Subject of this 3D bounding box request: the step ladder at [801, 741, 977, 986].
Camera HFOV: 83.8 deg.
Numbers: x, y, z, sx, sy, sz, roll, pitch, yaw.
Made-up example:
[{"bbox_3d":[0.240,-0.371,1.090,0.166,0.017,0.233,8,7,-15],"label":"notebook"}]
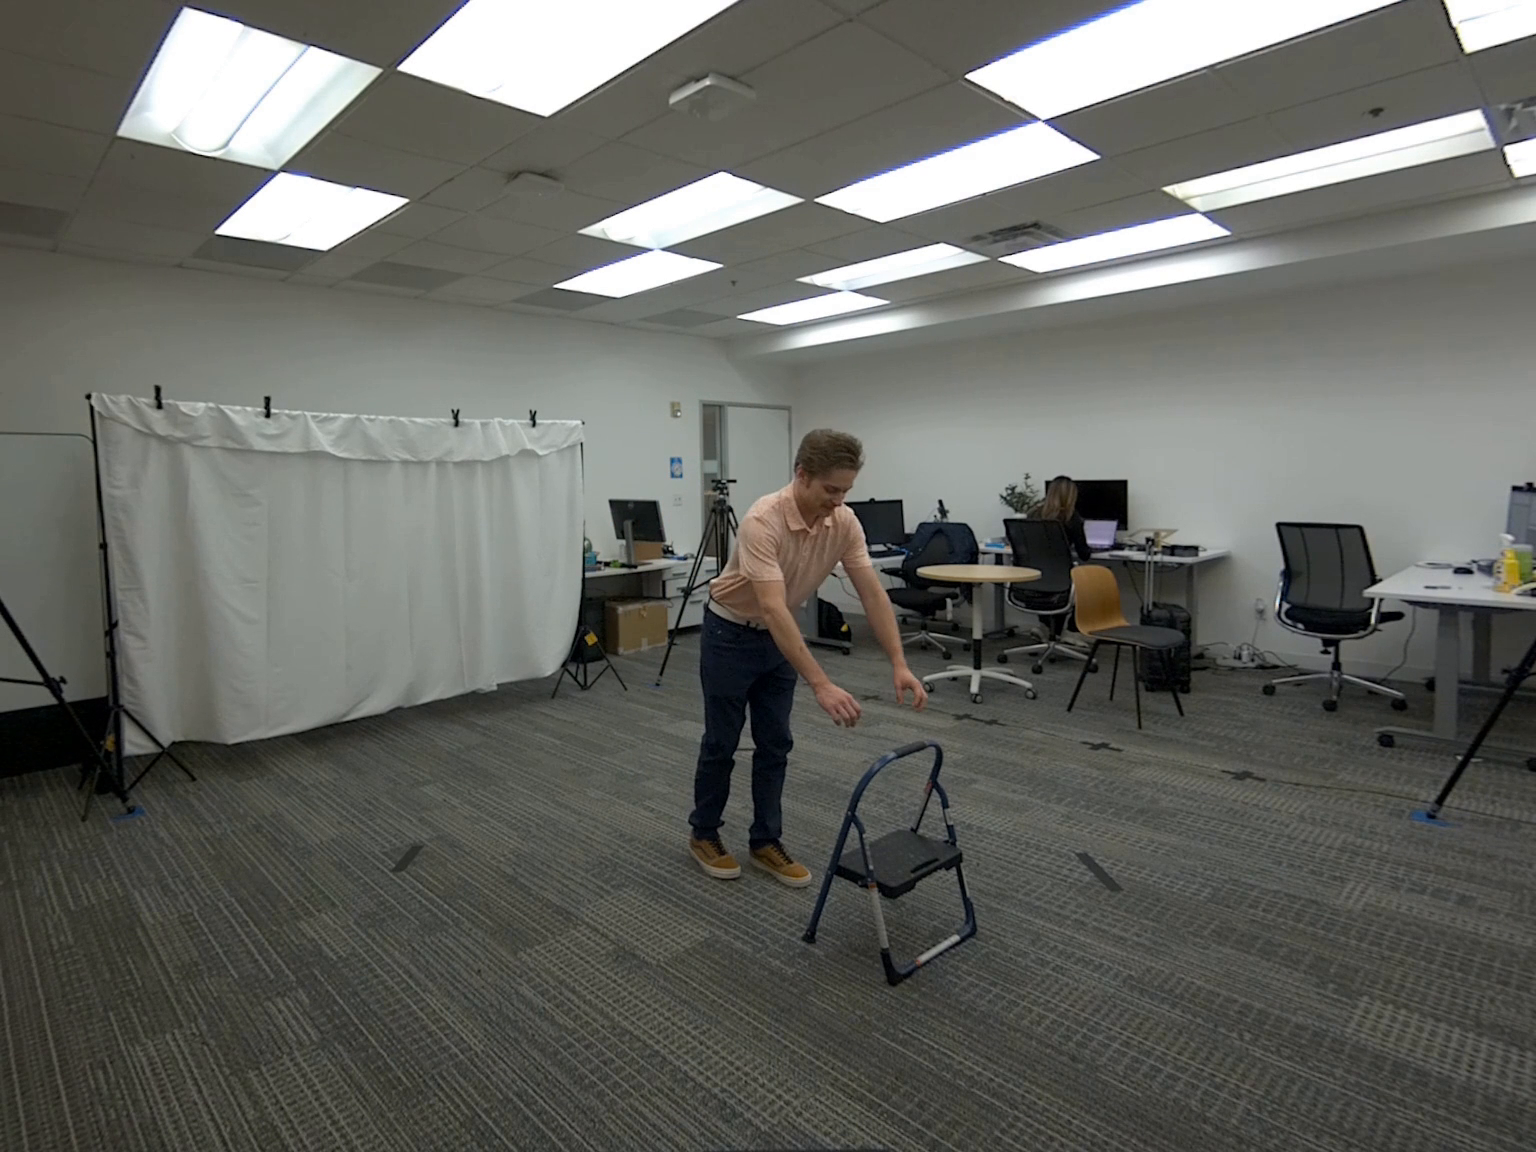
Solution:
[{"bbox_3d":[0.372,0.797,2.585,0.419,0.604,0.360,-6,6,-43],"label":"step ladder"}]
